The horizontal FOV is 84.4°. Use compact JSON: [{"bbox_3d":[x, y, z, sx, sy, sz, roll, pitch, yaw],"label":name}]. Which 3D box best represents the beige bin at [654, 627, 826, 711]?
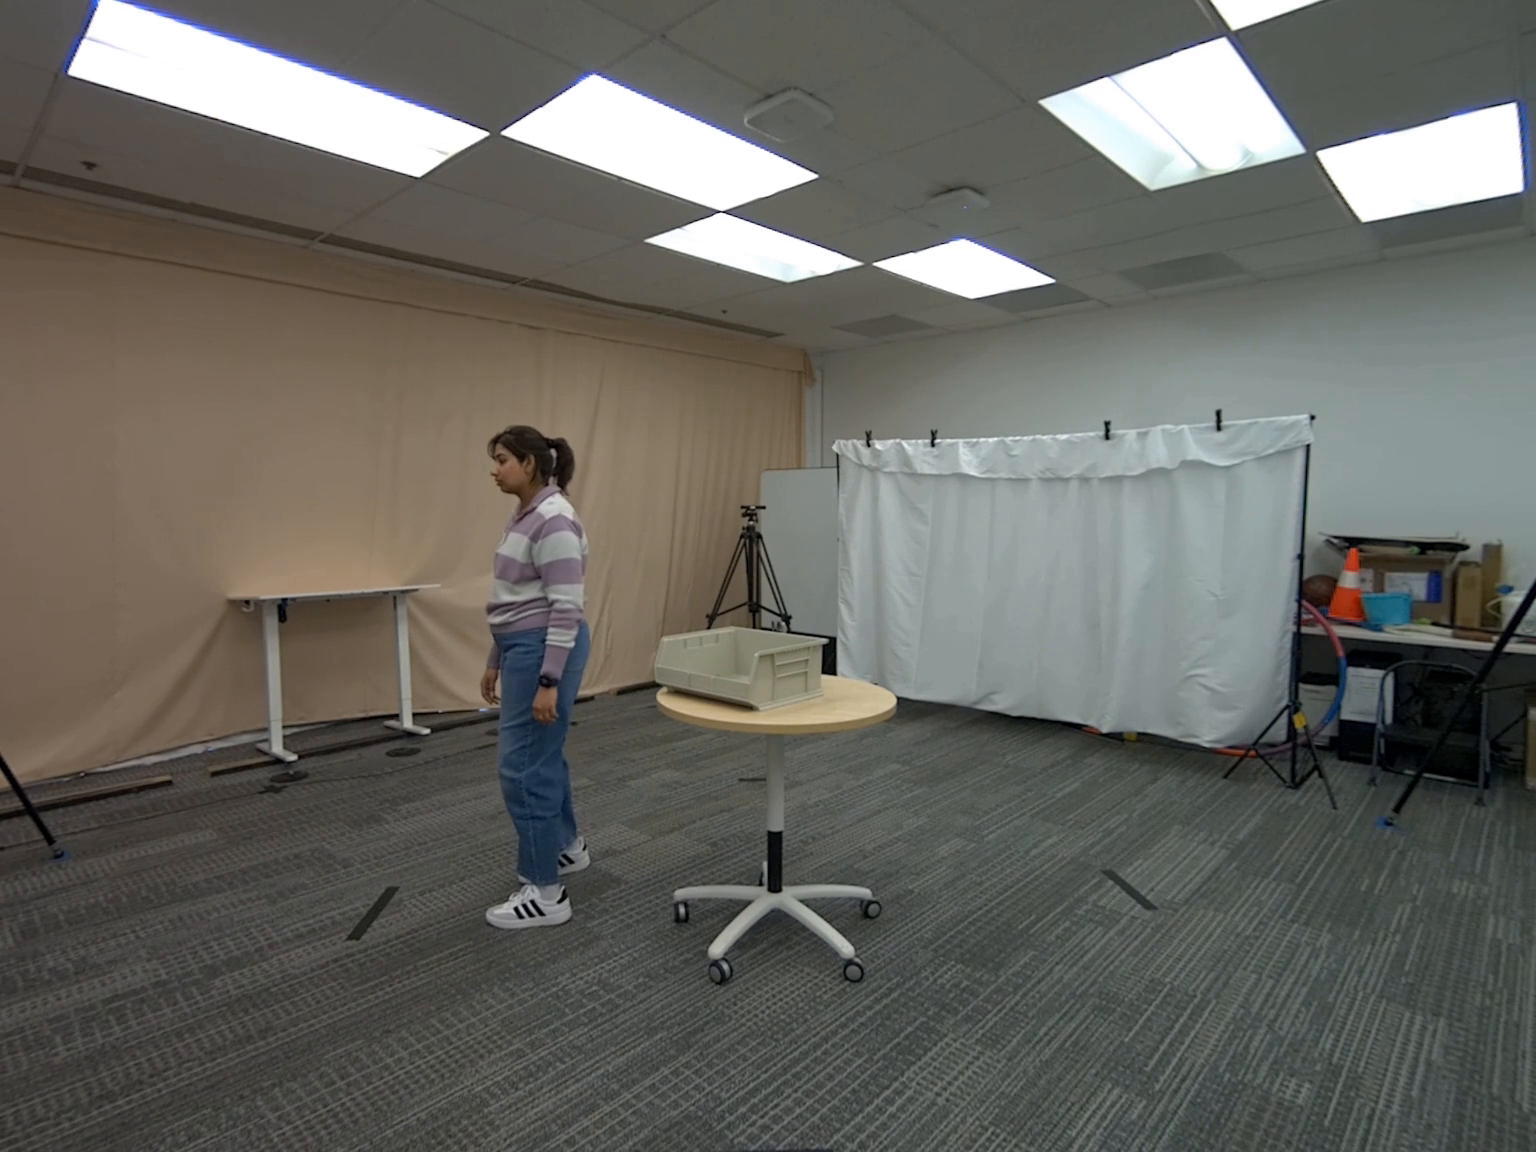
[{"bbox_3d":[-0.084,0.295,2.715,0.436,0.189,0.365,3,4,43],"label":"beige bin"}]
